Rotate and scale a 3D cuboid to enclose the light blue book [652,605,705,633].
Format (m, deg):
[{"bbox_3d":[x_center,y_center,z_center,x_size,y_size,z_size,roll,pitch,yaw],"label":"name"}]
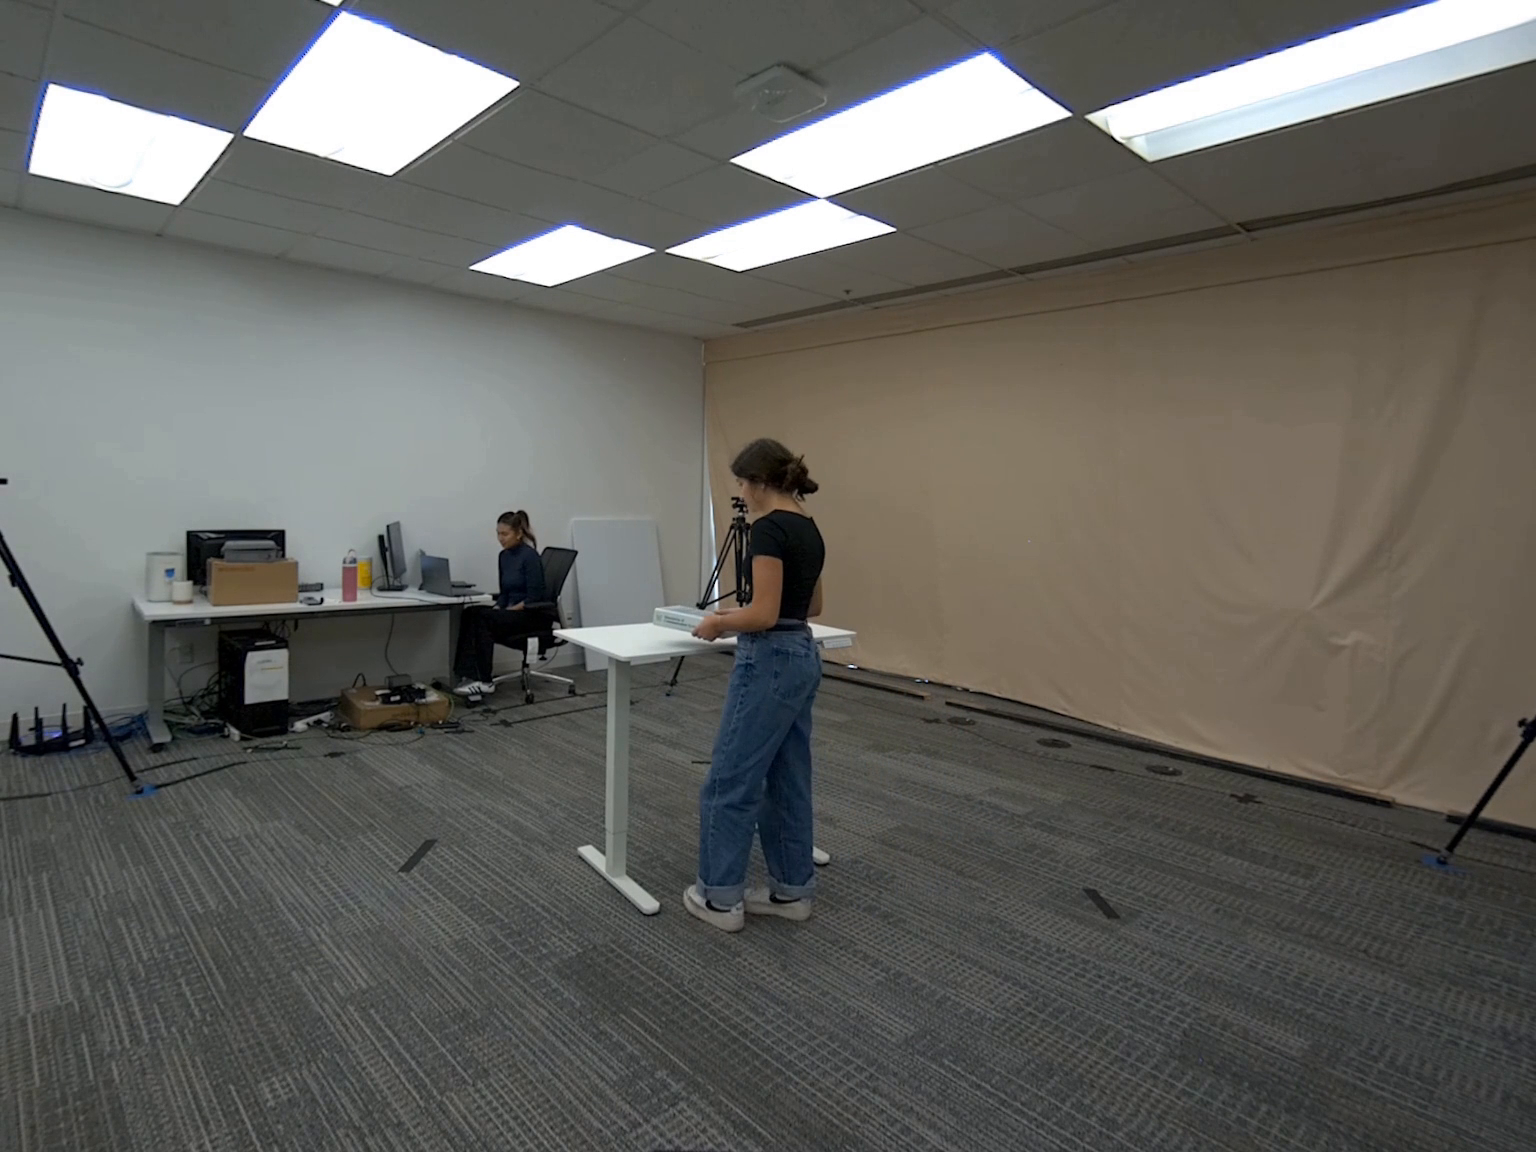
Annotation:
[{"bbox_3d":[-0.234,0.162,2.886,0.266,0.059,0.188,11,6,20],"label":"light blue book"}]
